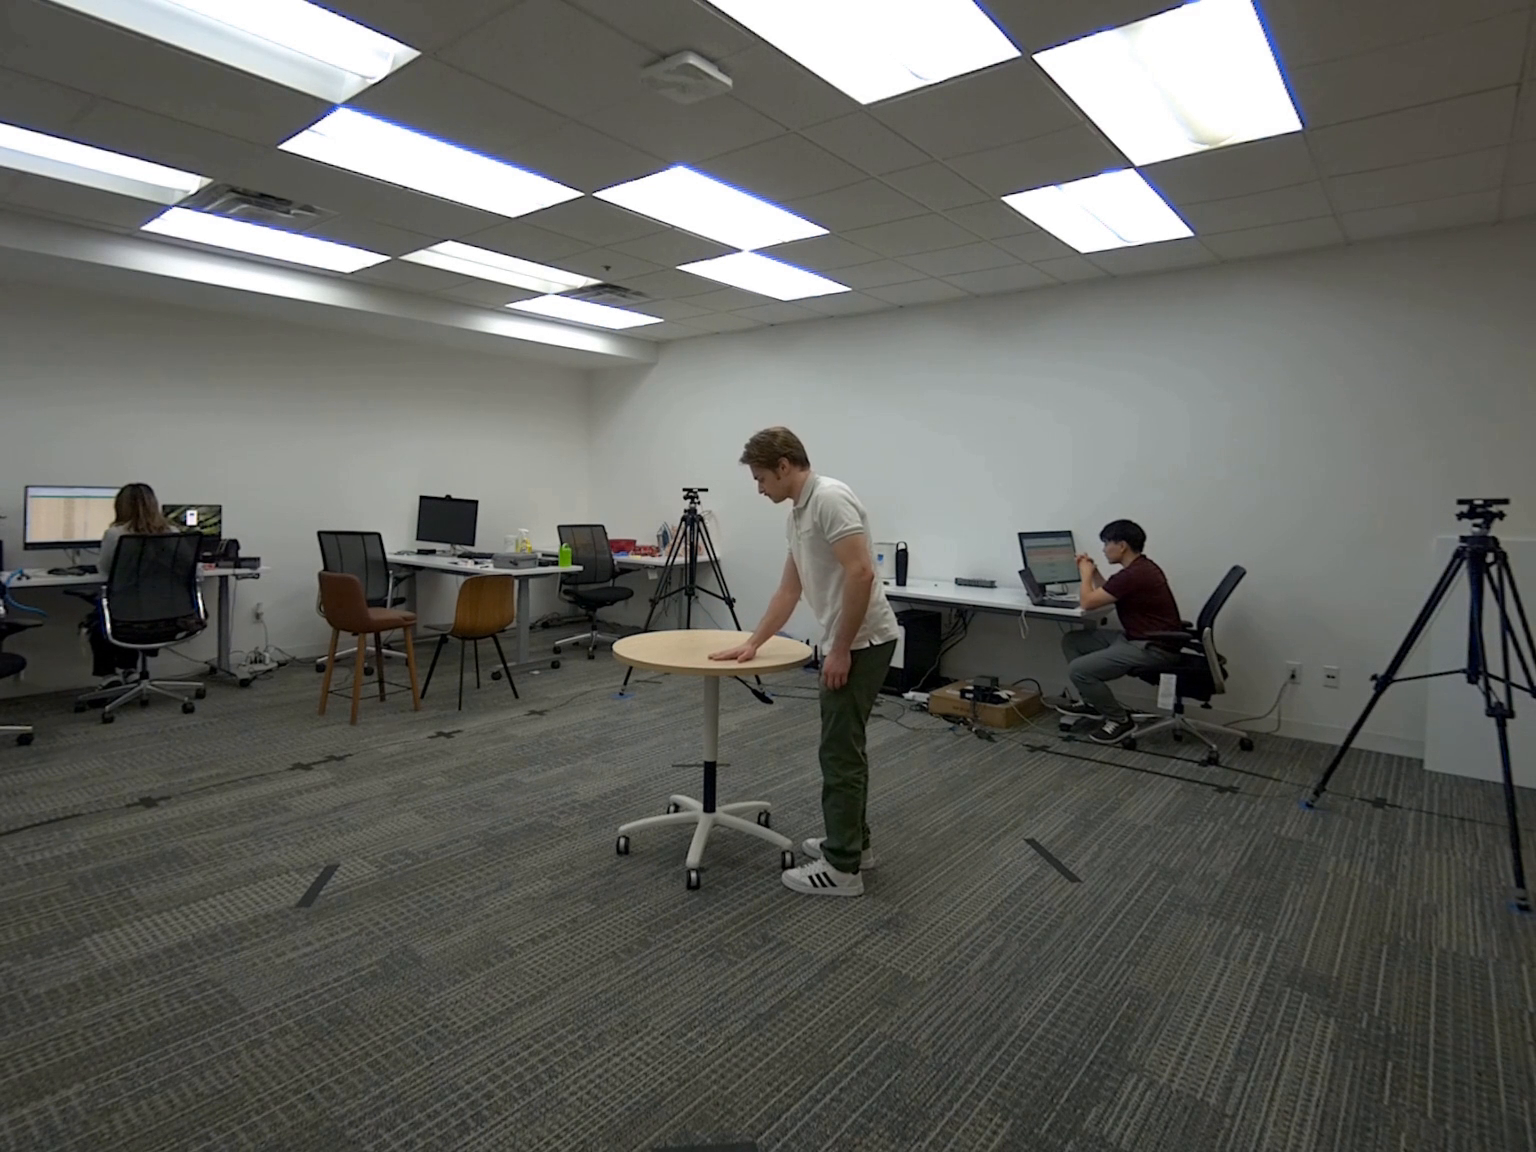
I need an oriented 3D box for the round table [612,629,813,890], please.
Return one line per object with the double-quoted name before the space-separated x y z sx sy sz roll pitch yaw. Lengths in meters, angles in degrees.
"round table" -0.240 0.656 3.304 0.784 0.784 0.789 1 4 -2
